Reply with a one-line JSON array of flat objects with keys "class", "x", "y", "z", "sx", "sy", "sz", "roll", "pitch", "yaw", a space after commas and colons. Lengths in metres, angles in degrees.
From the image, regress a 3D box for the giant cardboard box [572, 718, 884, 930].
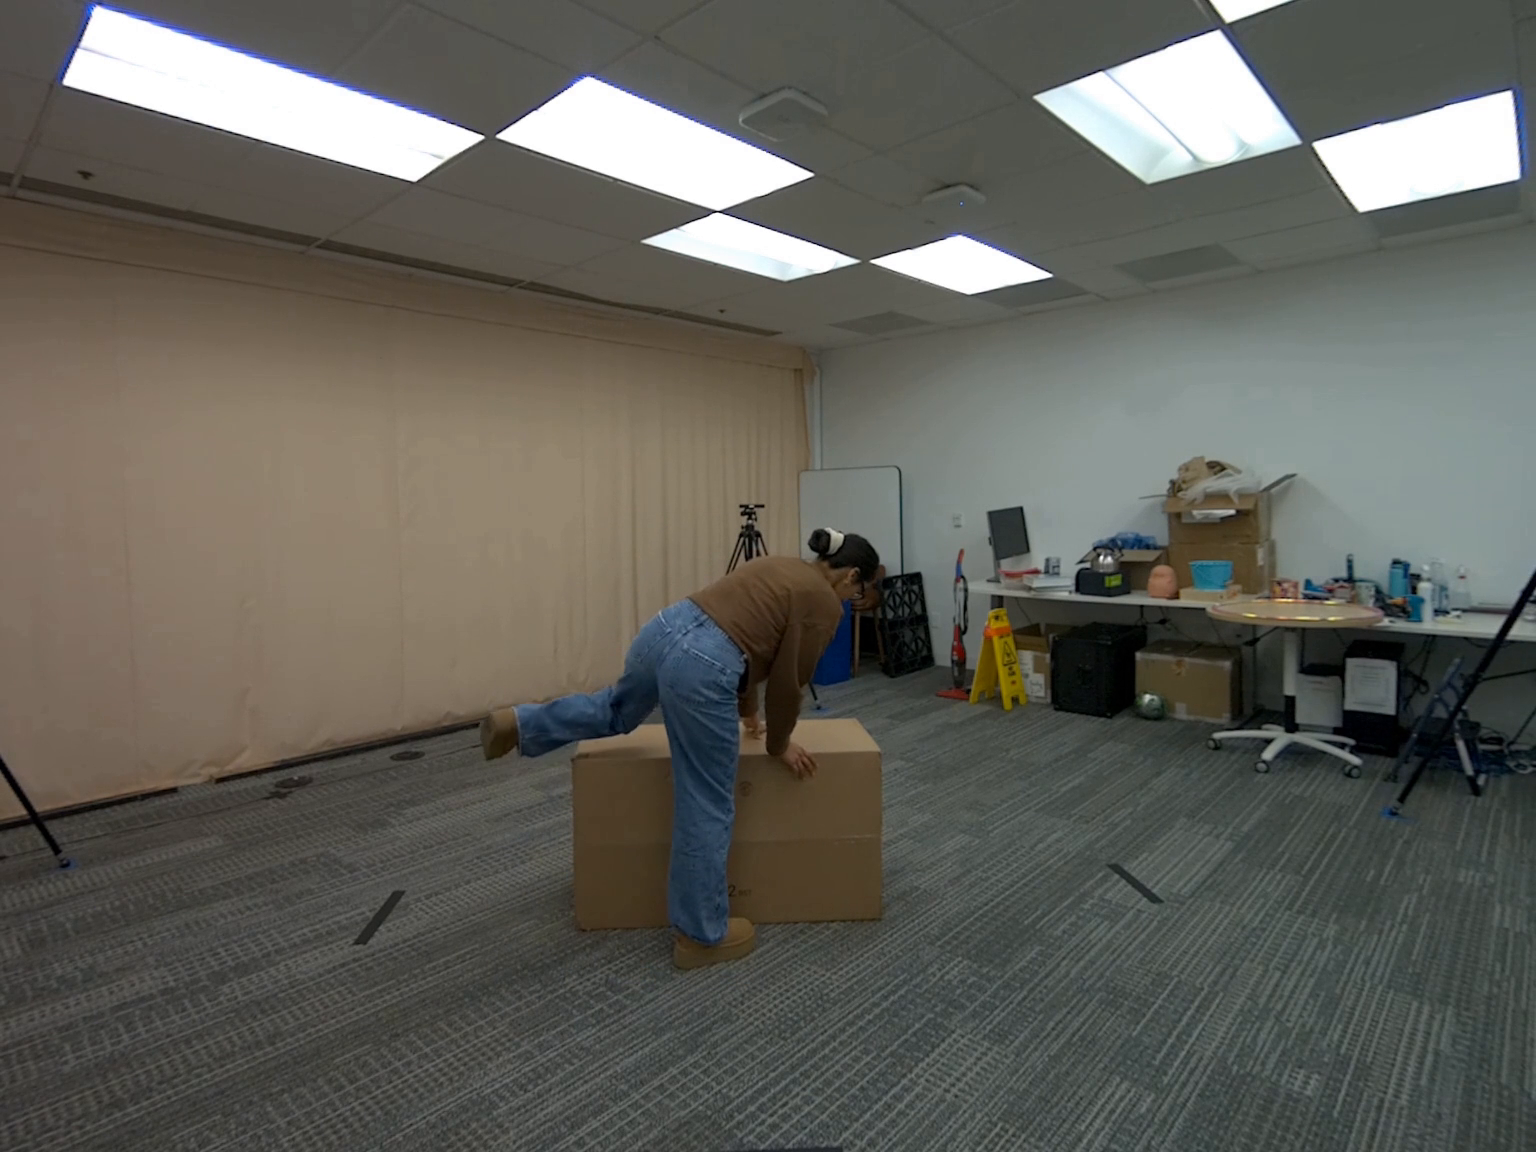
[{"class": "giant cardboard box", "x": -0.150, "y": 0.856, "z": 2.988, "sx": 1.025, "sy": 0.582, "sz": 0.449, "roll": -1, "pitch": 5, "yaw": -2}]
